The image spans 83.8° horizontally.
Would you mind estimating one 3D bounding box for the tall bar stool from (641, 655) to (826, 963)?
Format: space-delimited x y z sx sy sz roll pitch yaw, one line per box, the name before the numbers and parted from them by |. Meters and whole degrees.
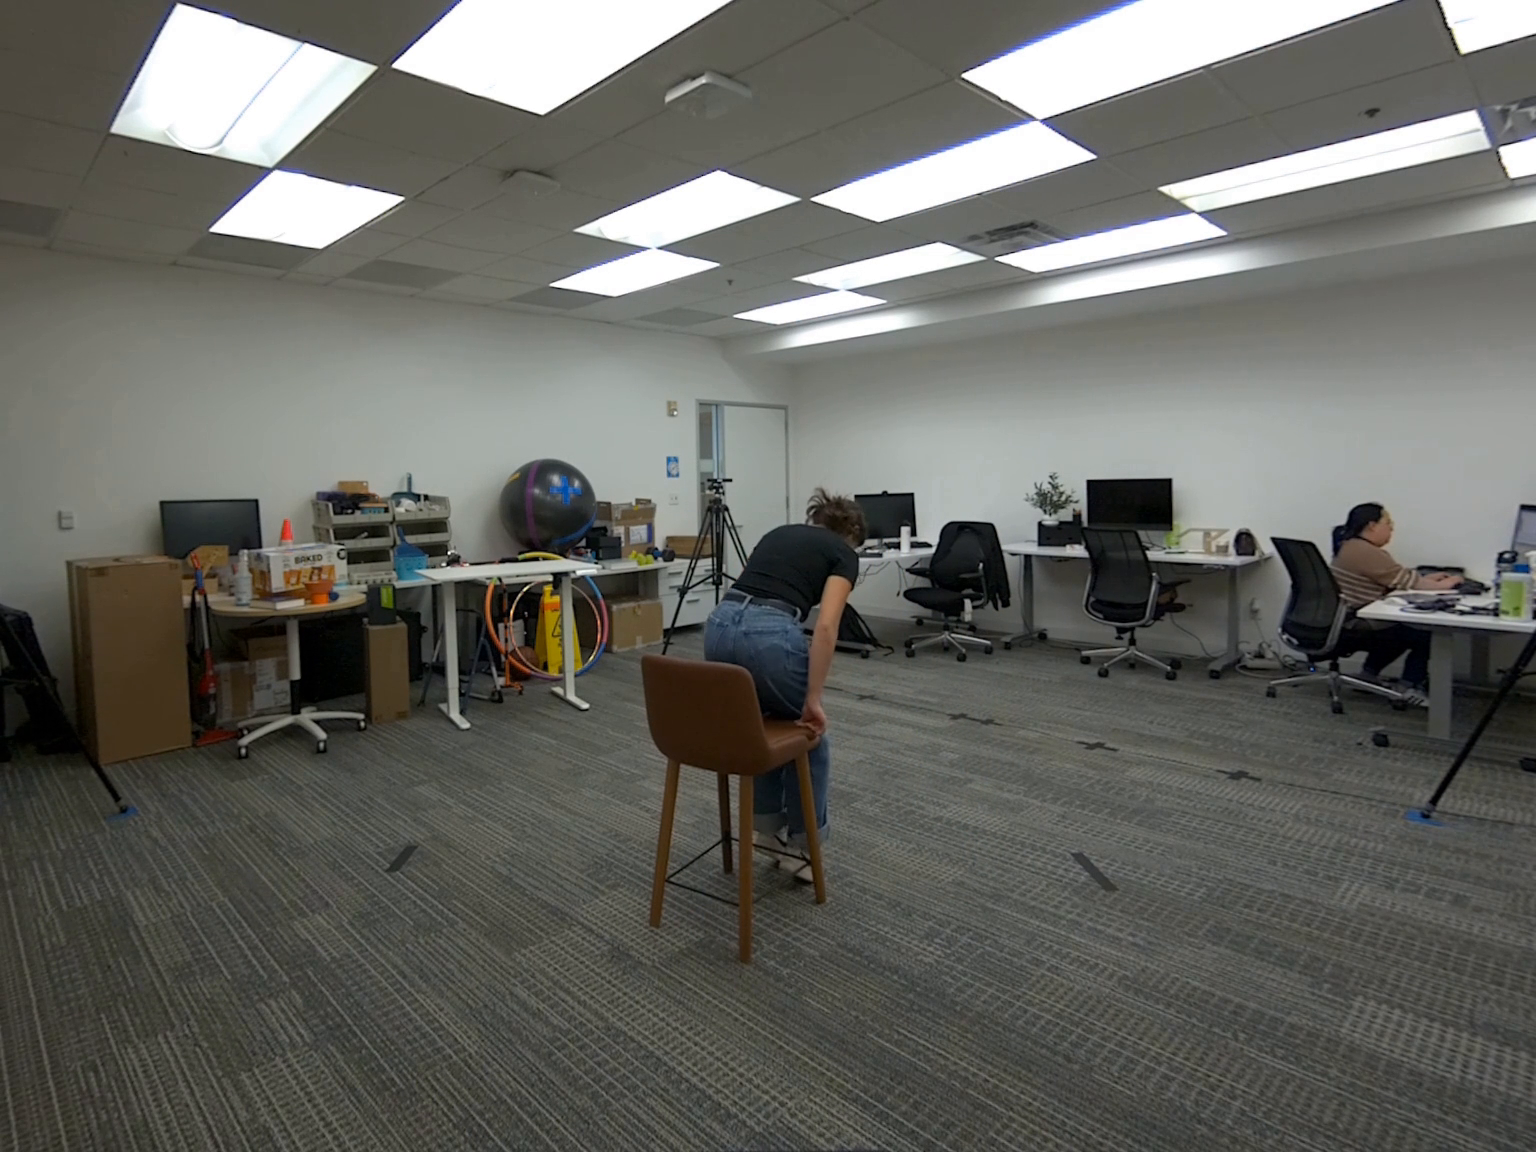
tall bar stool | -0.107 0.655 2.725 0.470 0.885 0.456 3 6 35
